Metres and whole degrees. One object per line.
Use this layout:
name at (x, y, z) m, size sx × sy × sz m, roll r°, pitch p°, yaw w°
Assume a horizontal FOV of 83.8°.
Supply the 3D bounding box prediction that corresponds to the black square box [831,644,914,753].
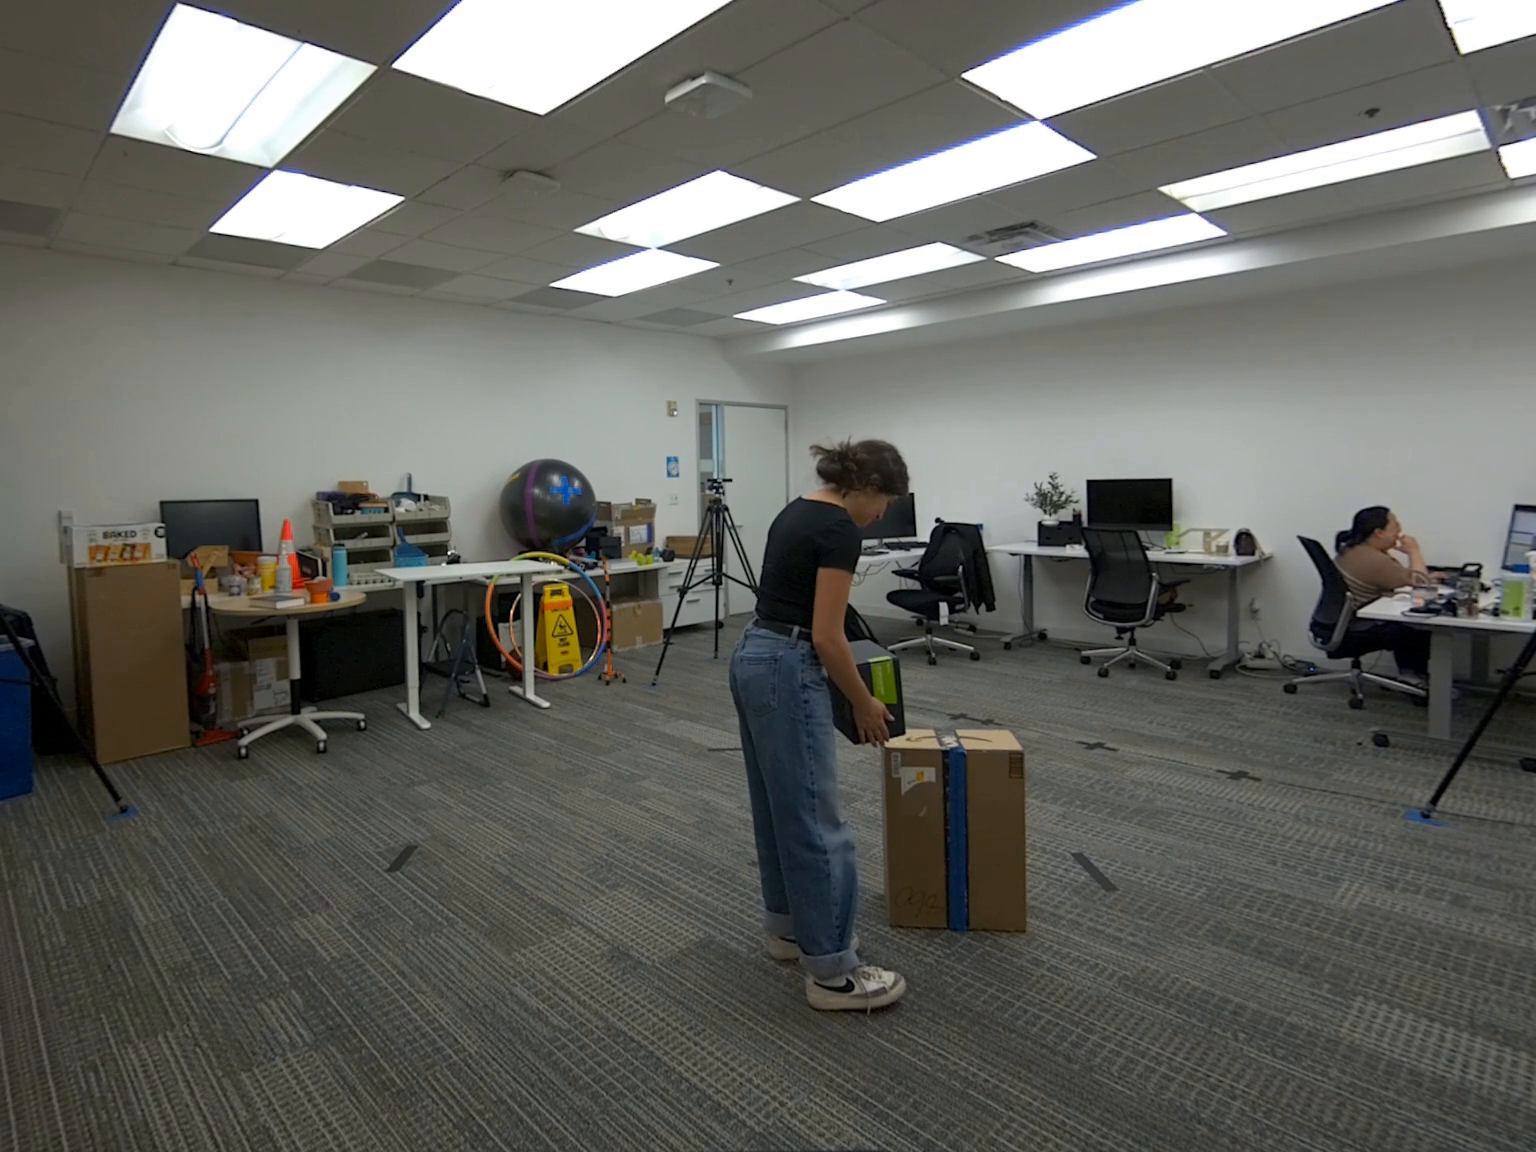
black square box at (0.282, 0.338, 2.418) m, size 0.154 × 0.226 × 0.221 m, roll -6°, pitch 8°, yaw -17°
